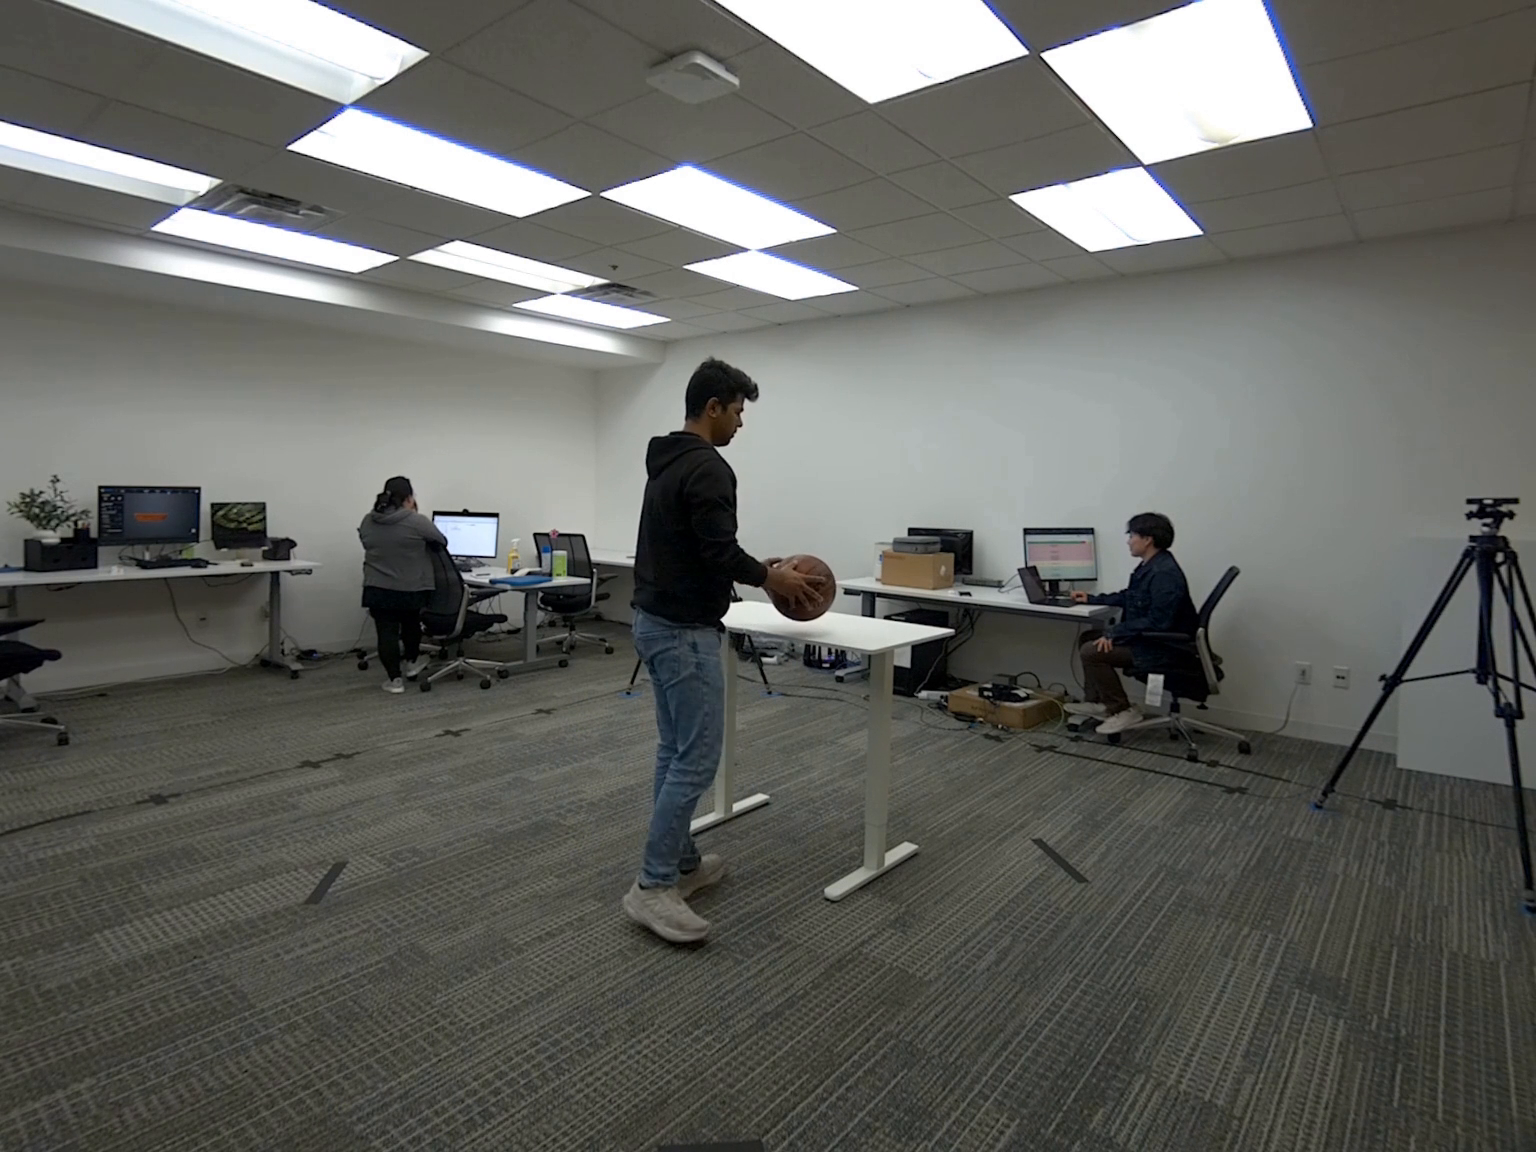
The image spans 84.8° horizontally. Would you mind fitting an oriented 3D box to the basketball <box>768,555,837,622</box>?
[{"bbox_3d":[0.105,0.050,3.014,0.235,0.235,0.237,1,4,-2],"label":"basketball"}]
